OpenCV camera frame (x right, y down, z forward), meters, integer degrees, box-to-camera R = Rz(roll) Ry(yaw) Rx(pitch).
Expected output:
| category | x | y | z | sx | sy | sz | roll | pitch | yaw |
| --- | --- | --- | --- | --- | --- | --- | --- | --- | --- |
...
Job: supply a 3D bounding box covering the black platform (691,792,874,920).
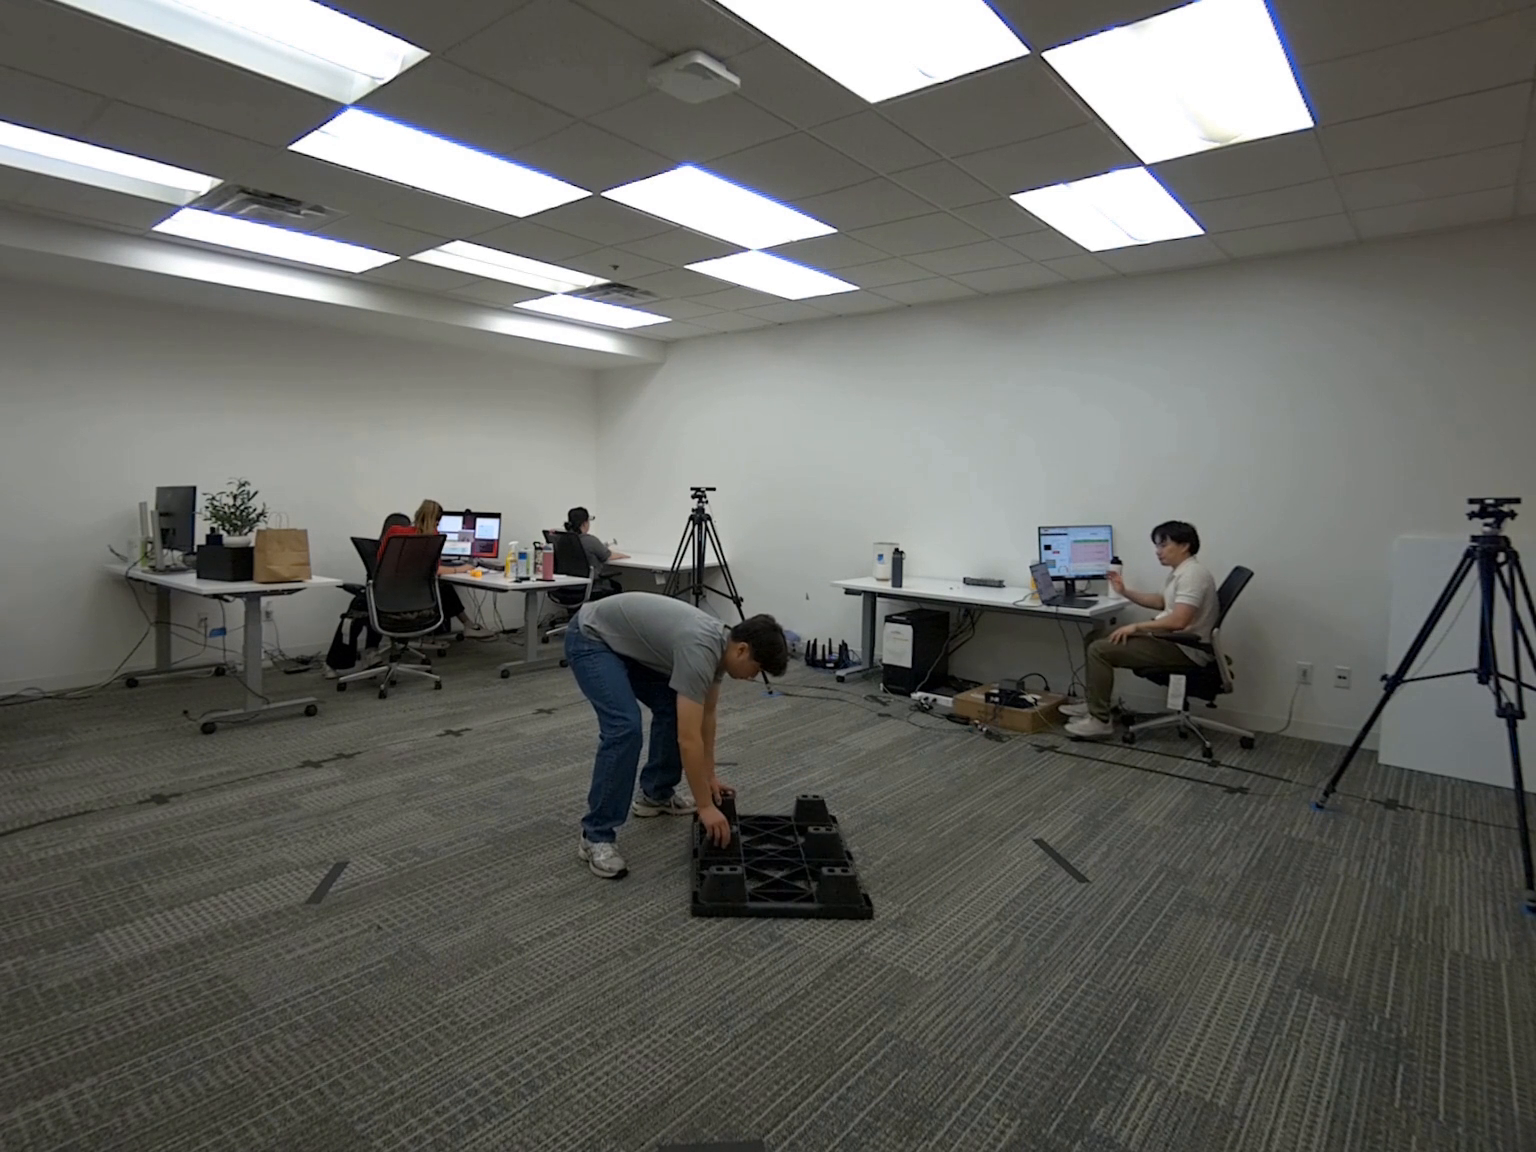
| category | x | y | z | sx | sy | sz | roll | pitch | yaw |
| --- | --- | --- | --- | --- | --- | --- | --- | --- | --- |
| black platform | 0.013 | 0.998 | 3.140 | 0.603 | 0.143 | 0.812 | 1 | 6 | -4 |
